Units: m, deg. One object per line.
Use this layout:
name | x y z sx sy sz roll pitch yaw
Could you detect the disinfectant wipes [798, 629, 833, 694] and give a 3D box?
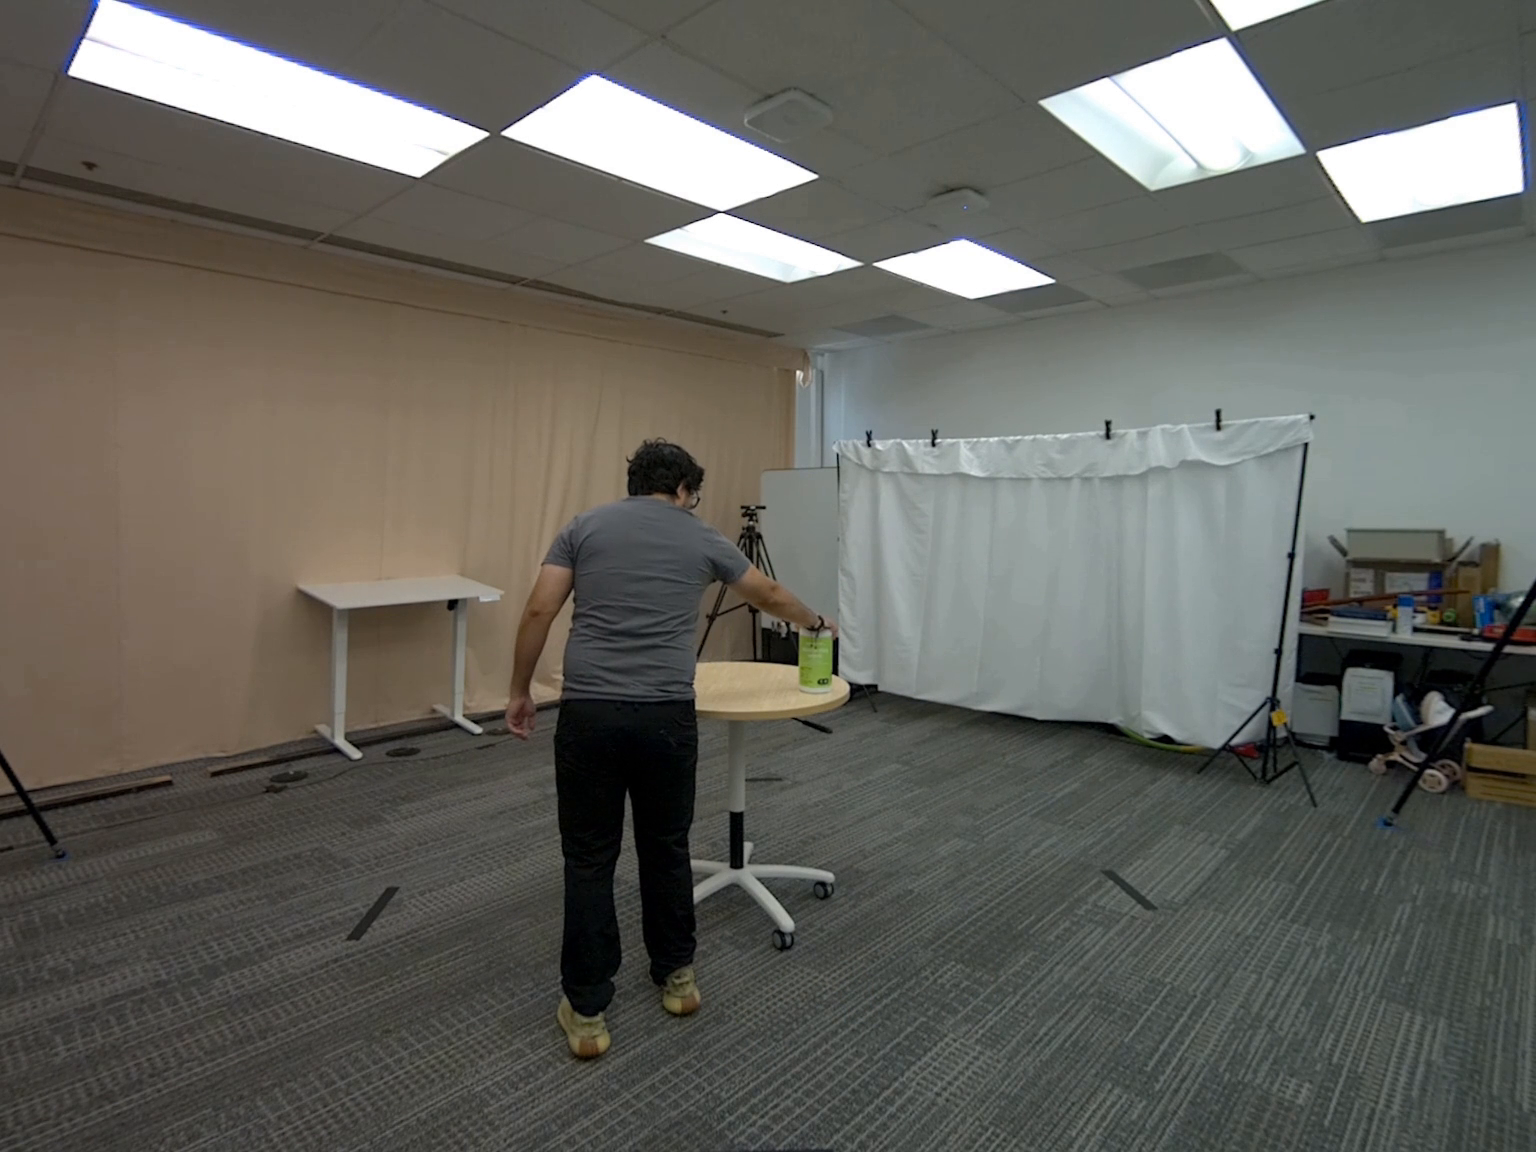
disinfectant wipes | 0.160 0.273 2.781 0.117 0.217 0.118 2 5 -2
